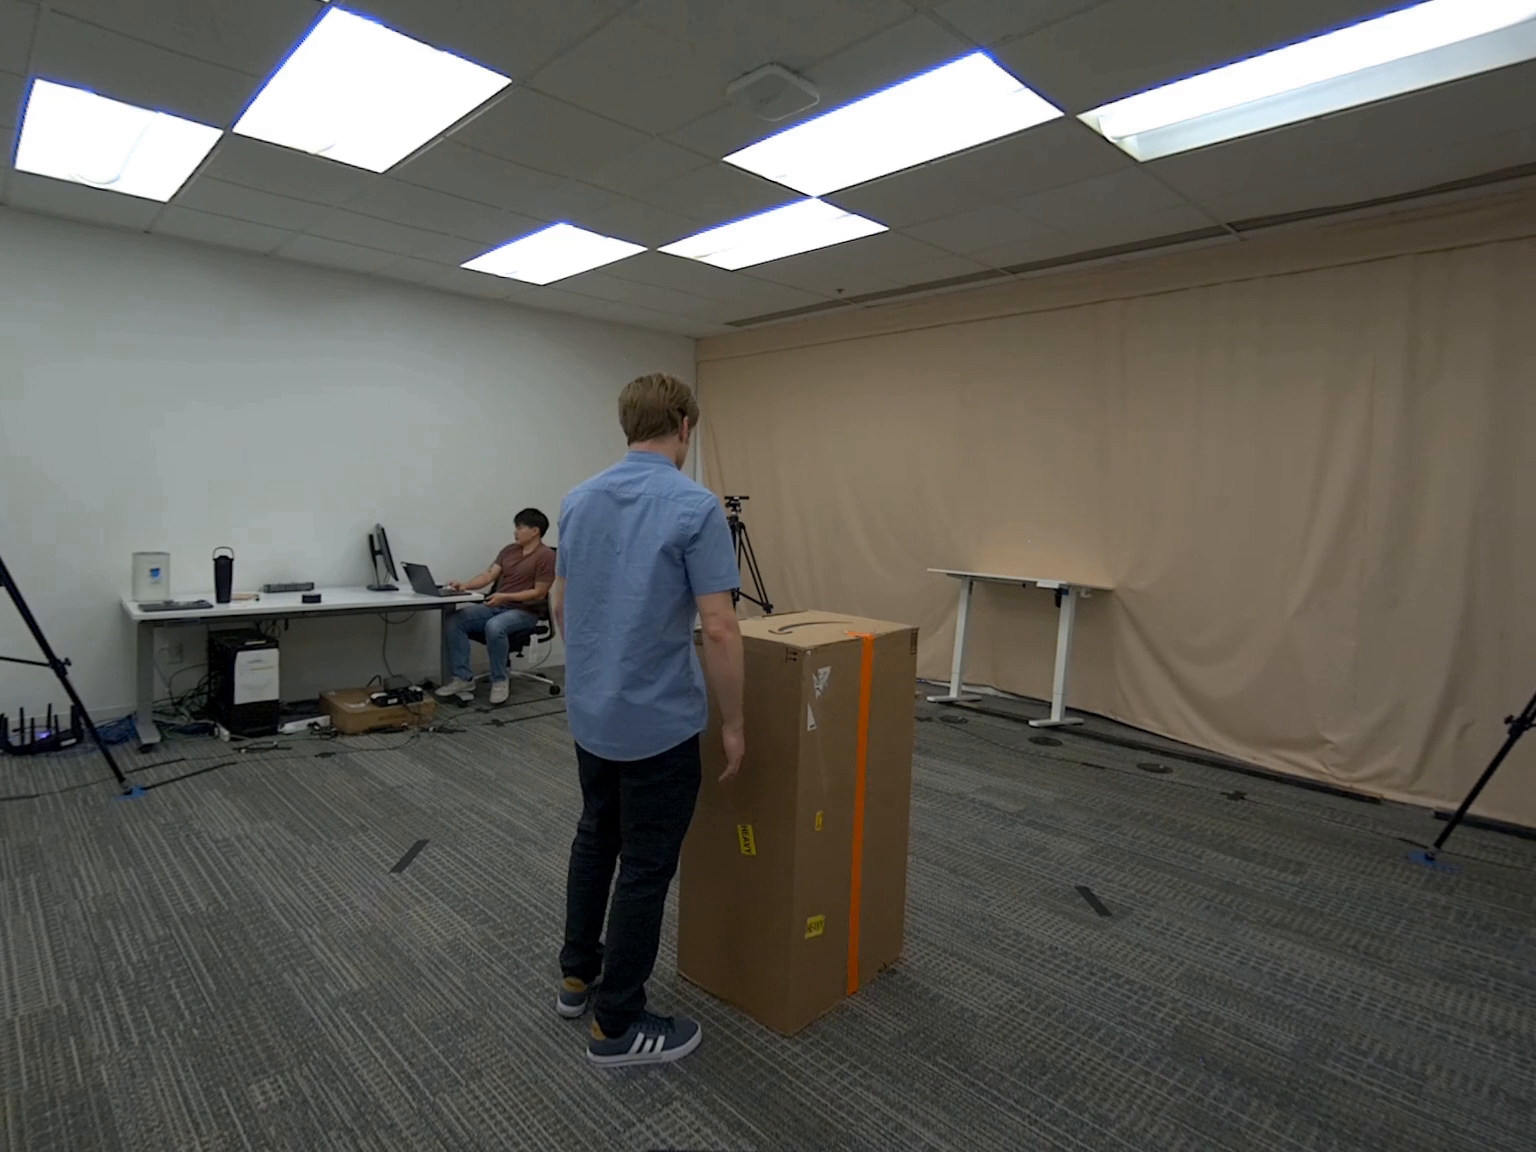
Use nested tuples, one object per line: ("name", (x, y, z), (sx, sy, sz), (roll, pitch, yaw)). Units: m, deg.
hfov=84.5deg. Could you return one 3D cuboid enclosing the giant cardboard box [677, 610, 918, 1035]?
("giant cardboard box", (0.096, 0.659, 2.489), (0.437, 1.023, 0.564), (5, 5, 41))
